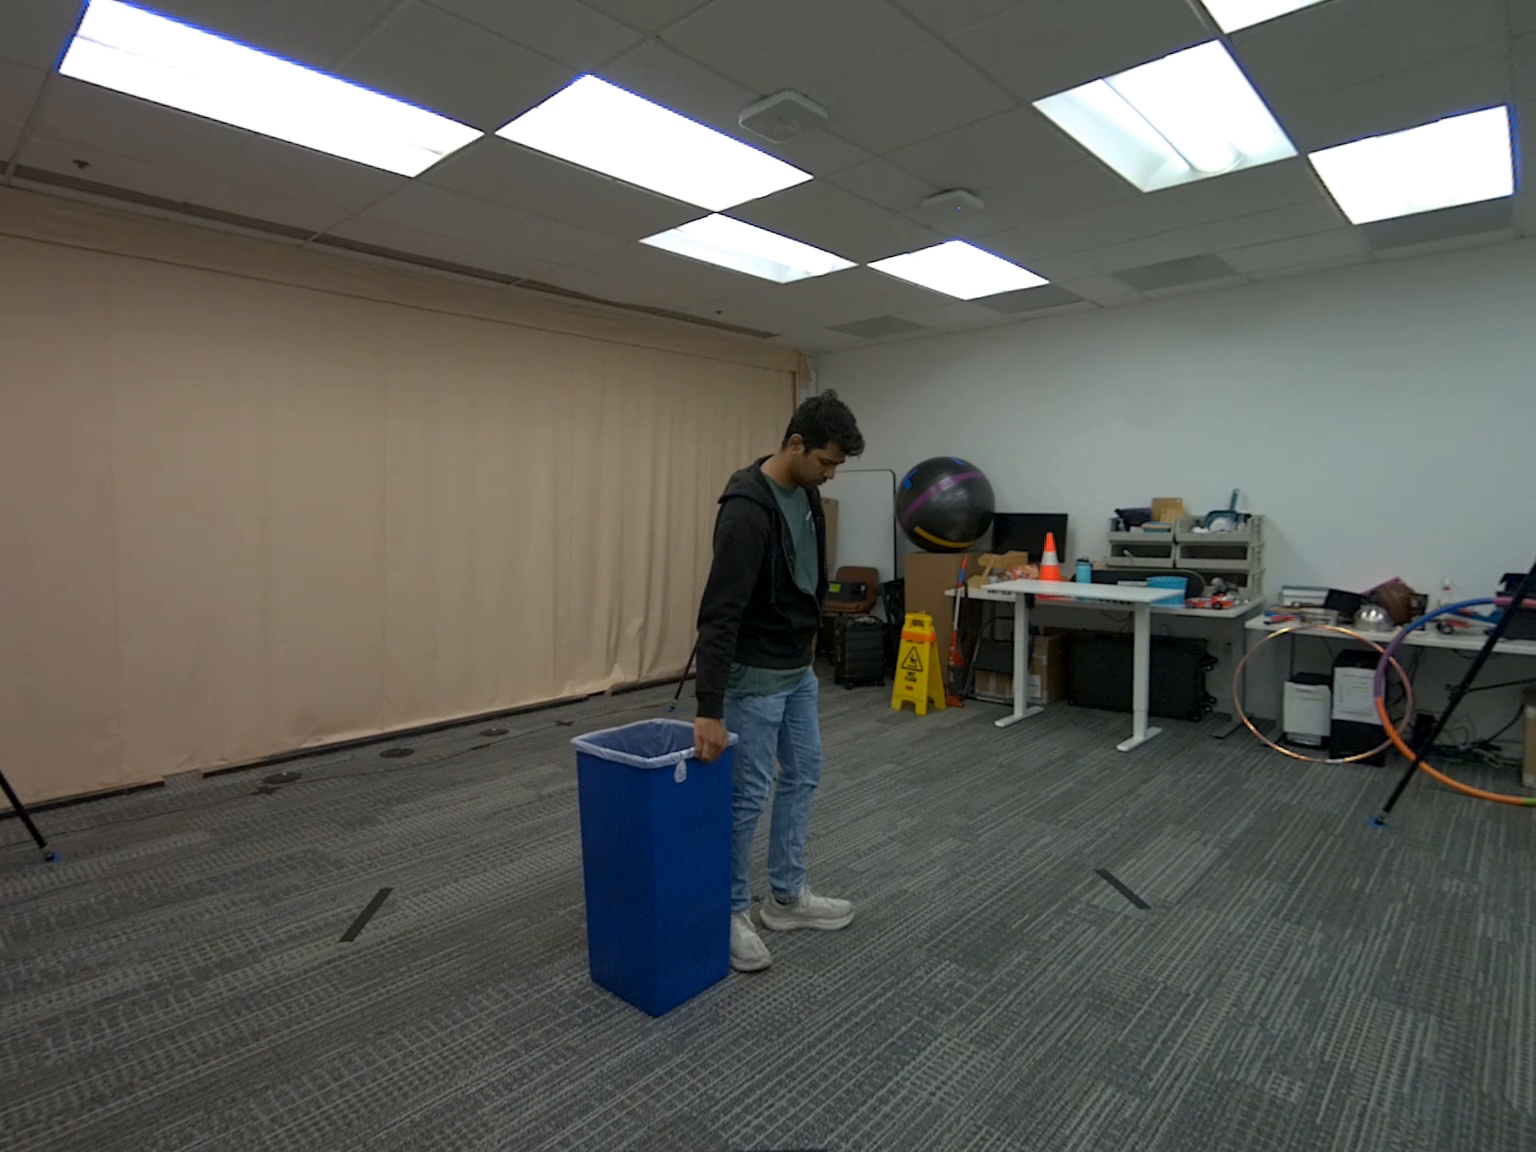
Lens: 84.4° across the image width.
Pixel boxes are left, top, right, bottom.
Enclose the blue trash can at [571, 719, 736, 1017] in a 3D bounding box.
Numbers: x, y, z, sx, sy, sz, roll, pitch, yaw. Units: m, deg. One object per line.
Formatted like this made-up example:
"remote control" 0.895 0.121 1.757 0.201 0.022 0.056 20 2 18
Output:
"blue trash can" -0.327 0.828 2.489 0.390 0.713 0.362 1 3 42
